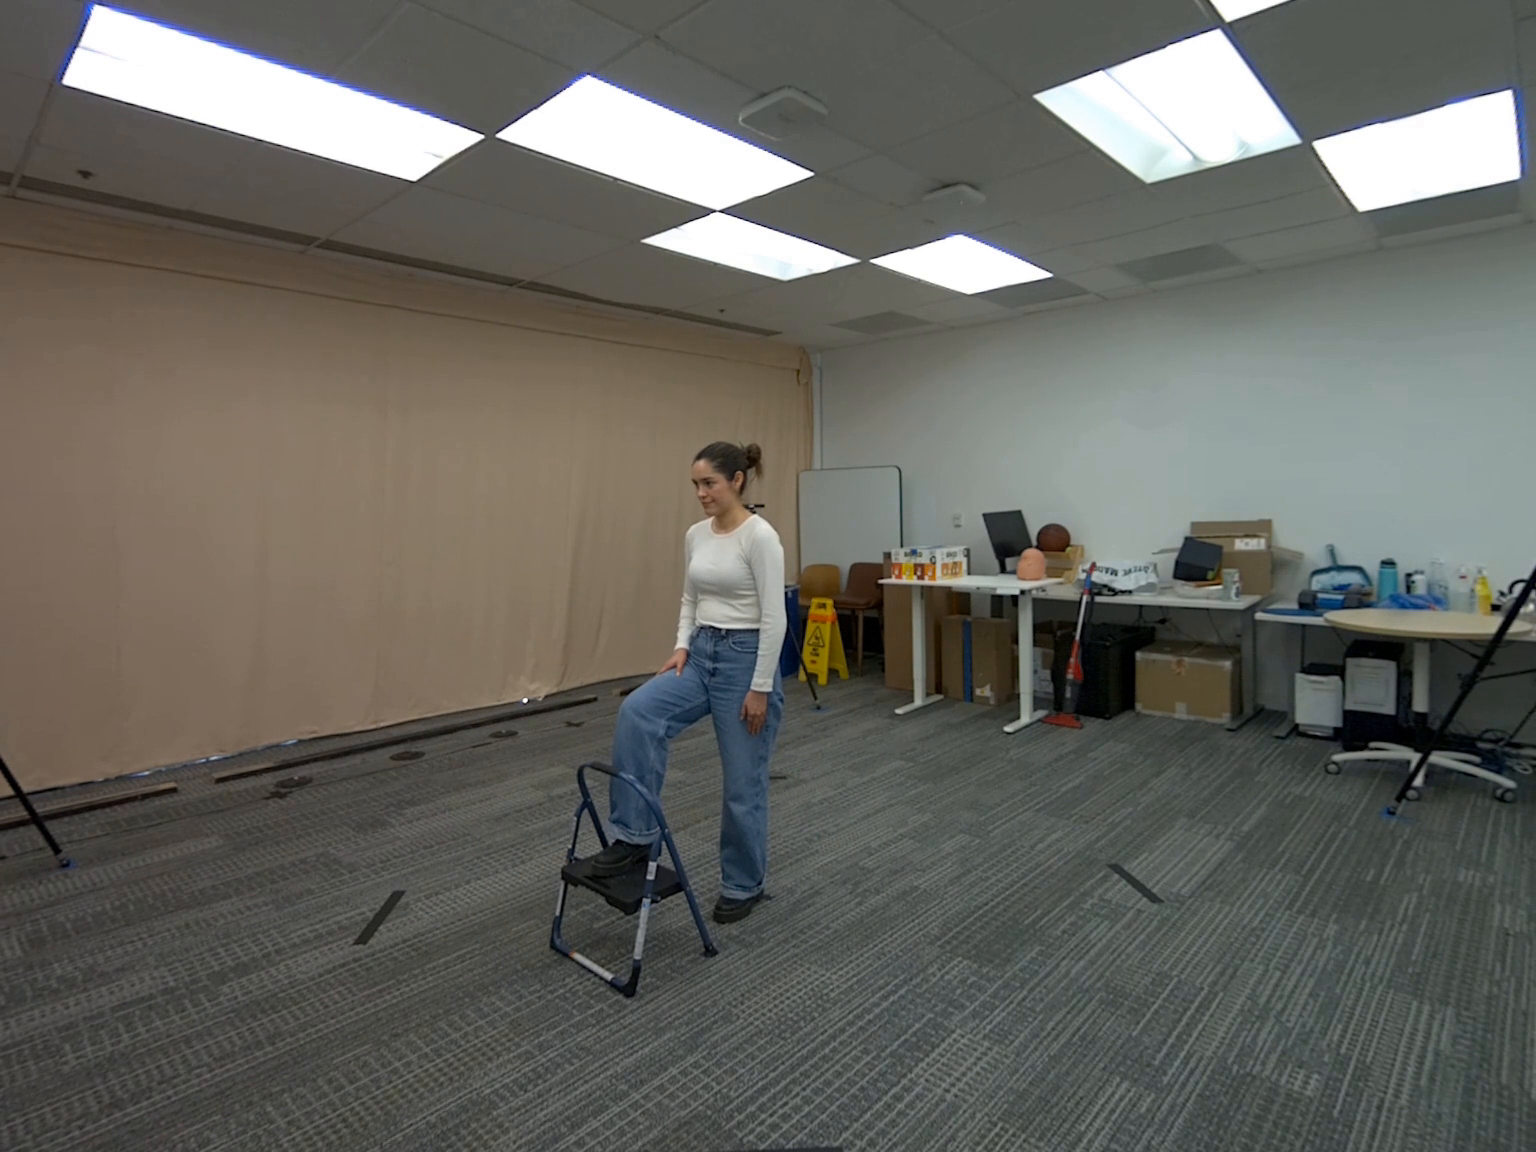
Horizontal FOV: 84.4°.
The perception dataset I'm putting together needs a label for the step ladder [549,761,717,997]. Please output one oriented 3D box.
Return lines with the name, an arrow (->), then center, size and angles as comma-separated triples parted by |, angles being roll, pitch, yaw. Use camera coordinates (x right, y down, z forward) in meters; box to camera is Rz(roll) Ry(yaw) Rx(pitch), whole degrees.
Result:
step ladder -> -0.433, 0.879, 2.631 | 0.445, 0.605, 0.339 | 2, 4, 43
